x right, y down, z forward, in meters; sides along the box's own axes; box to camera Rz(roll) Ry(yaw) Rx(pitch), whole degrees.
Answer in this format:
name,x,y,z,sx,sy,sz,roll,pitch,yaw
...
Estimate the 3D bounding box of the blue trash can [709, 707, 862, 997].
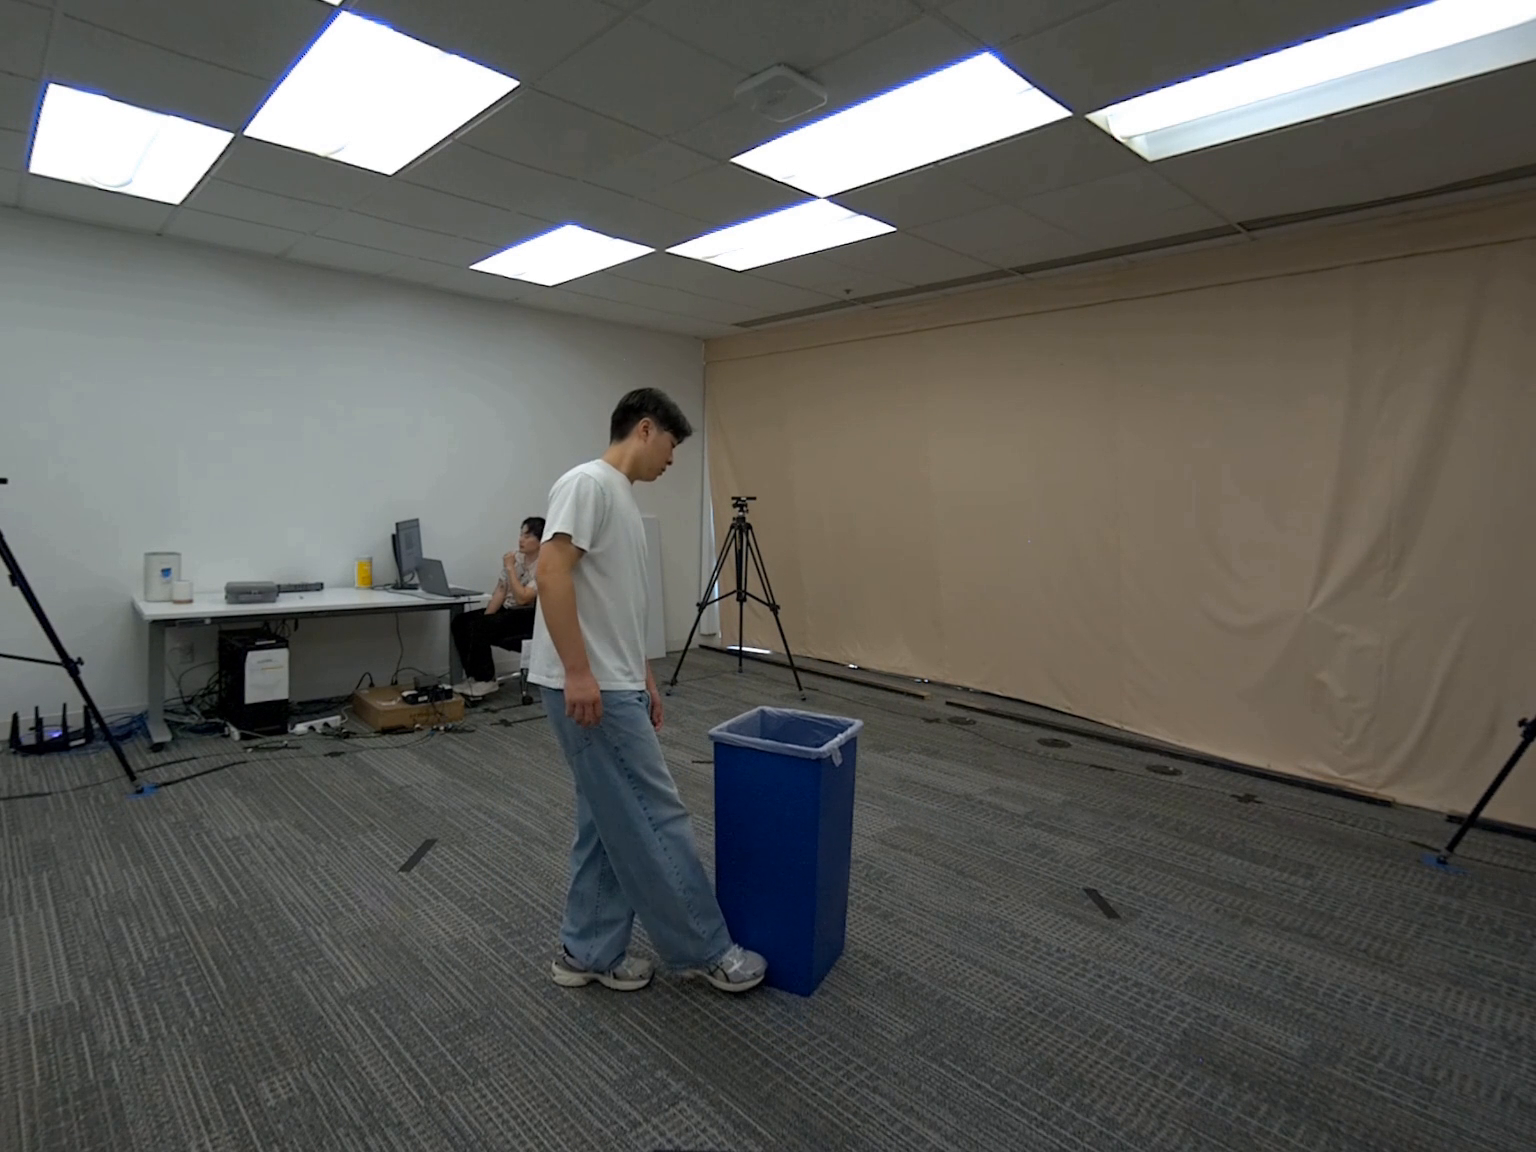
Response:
name,x,y,z,sx,sy,sz,roll,pitch,yaw
blue trash can,0.039,0.804,2.529,0.381,0.712,0.371,4,4,26
